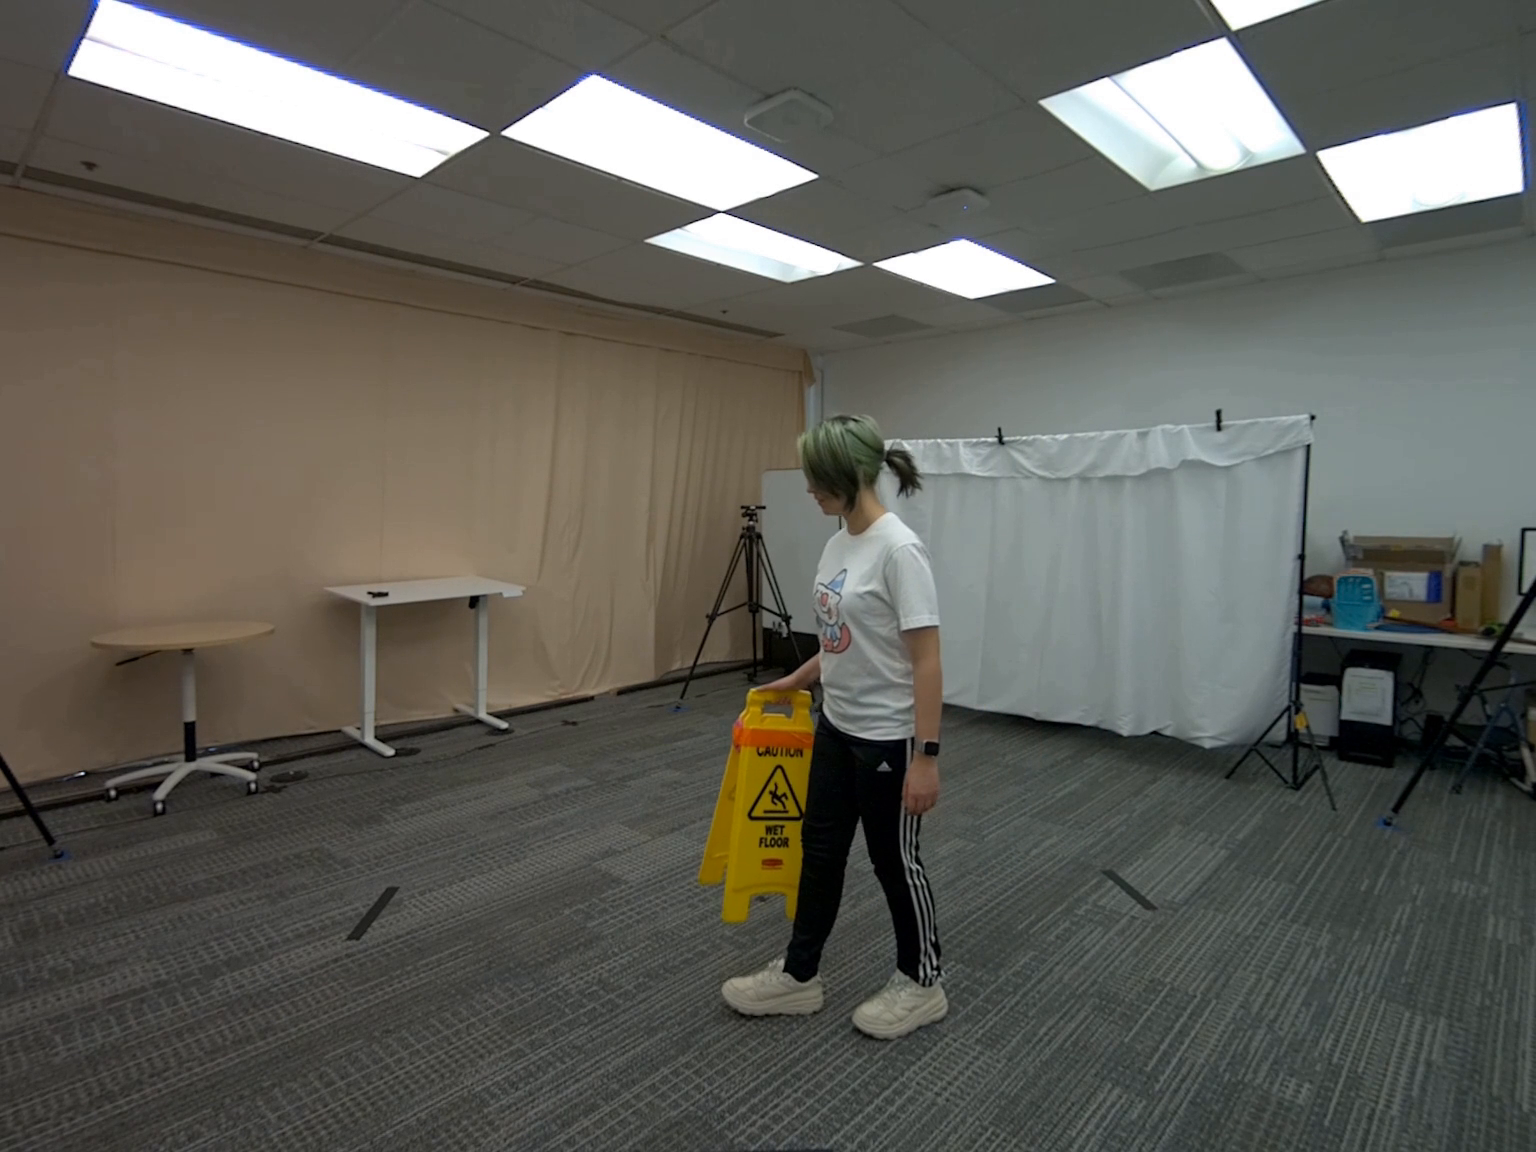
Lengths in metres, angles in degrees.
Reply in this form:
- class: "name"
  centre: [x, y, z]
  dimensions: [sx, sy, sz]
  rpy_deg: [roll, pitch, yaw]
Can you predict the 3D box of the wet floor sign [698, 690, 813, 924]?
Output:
- class: "wet floor sign"
  centre: [-0.007, 0.663, 2.532]
  dimensions: [0.276, 0.645, 0.296]
  rpy_deg: [8, 2, -20]
